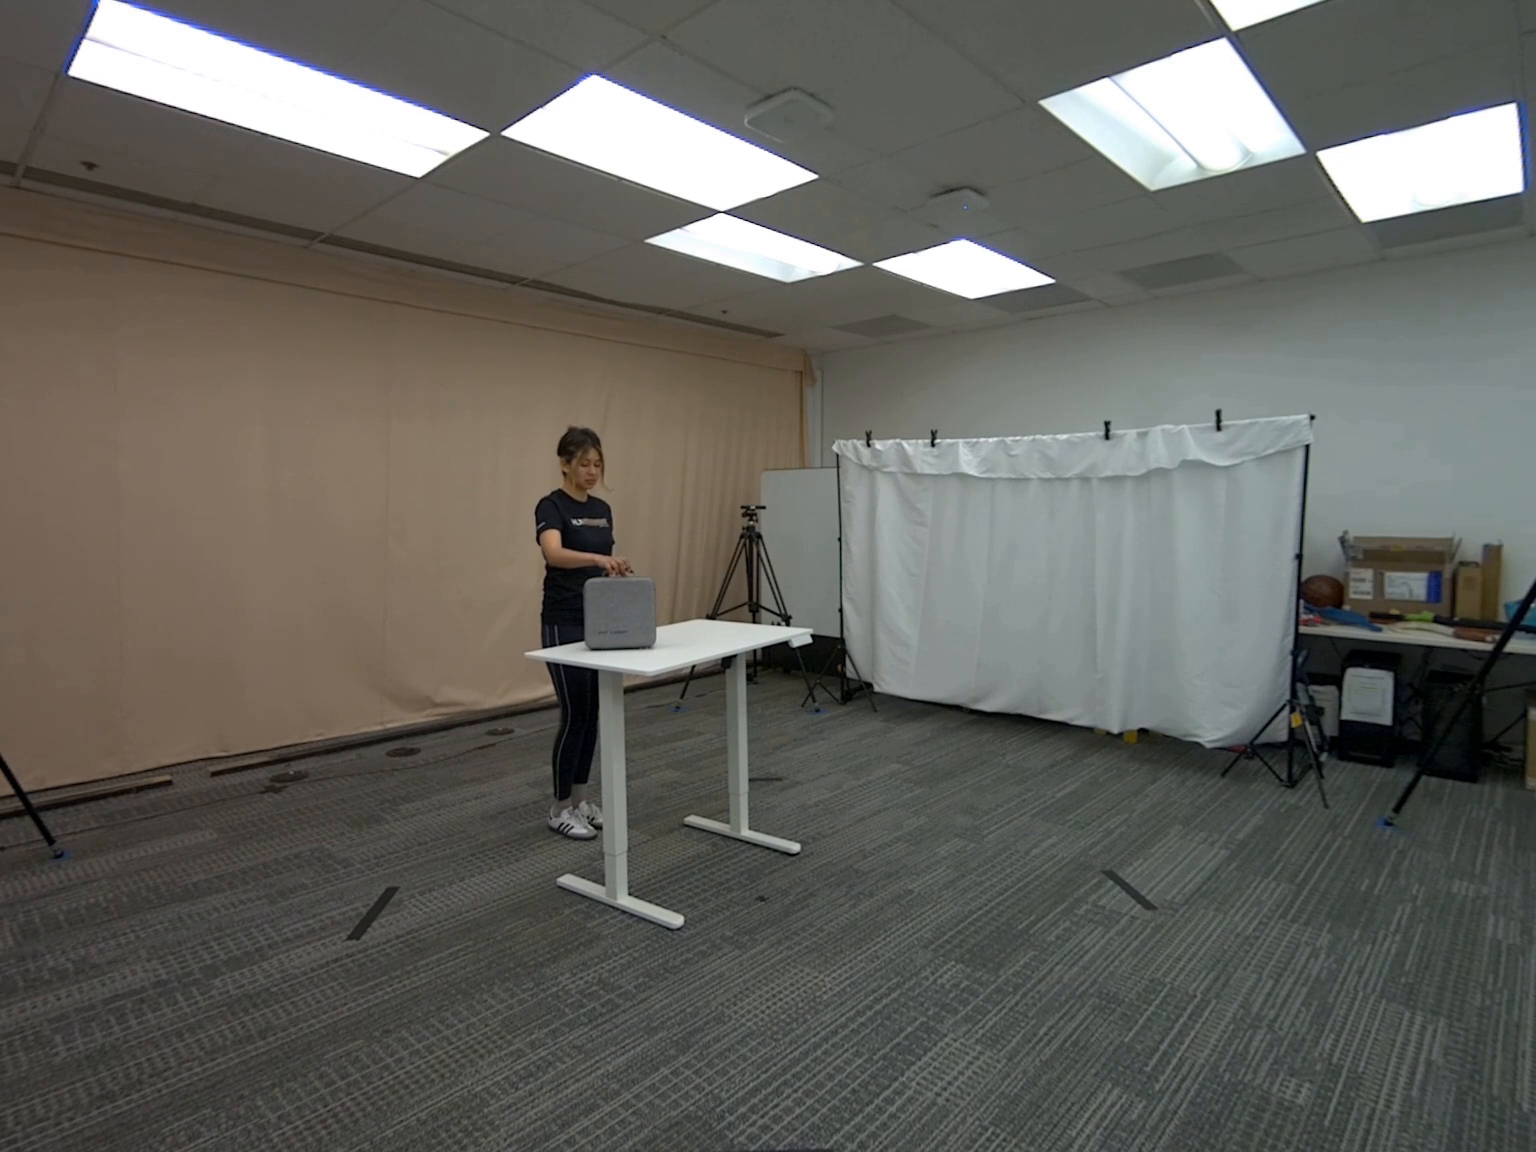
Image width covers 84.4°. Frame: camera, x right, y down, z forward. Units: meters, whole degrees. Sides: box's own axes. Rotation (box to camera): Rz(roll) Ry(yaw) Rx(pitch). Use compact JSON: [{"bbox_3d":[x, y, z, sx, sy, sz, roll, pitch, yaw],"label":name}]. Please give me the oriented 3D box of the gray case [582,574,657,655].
[{"bbox_3d":[-0.539,0.137,3.039,0.255,0.262,0.104,-3,-8,-8],"label":"gray case"}]
